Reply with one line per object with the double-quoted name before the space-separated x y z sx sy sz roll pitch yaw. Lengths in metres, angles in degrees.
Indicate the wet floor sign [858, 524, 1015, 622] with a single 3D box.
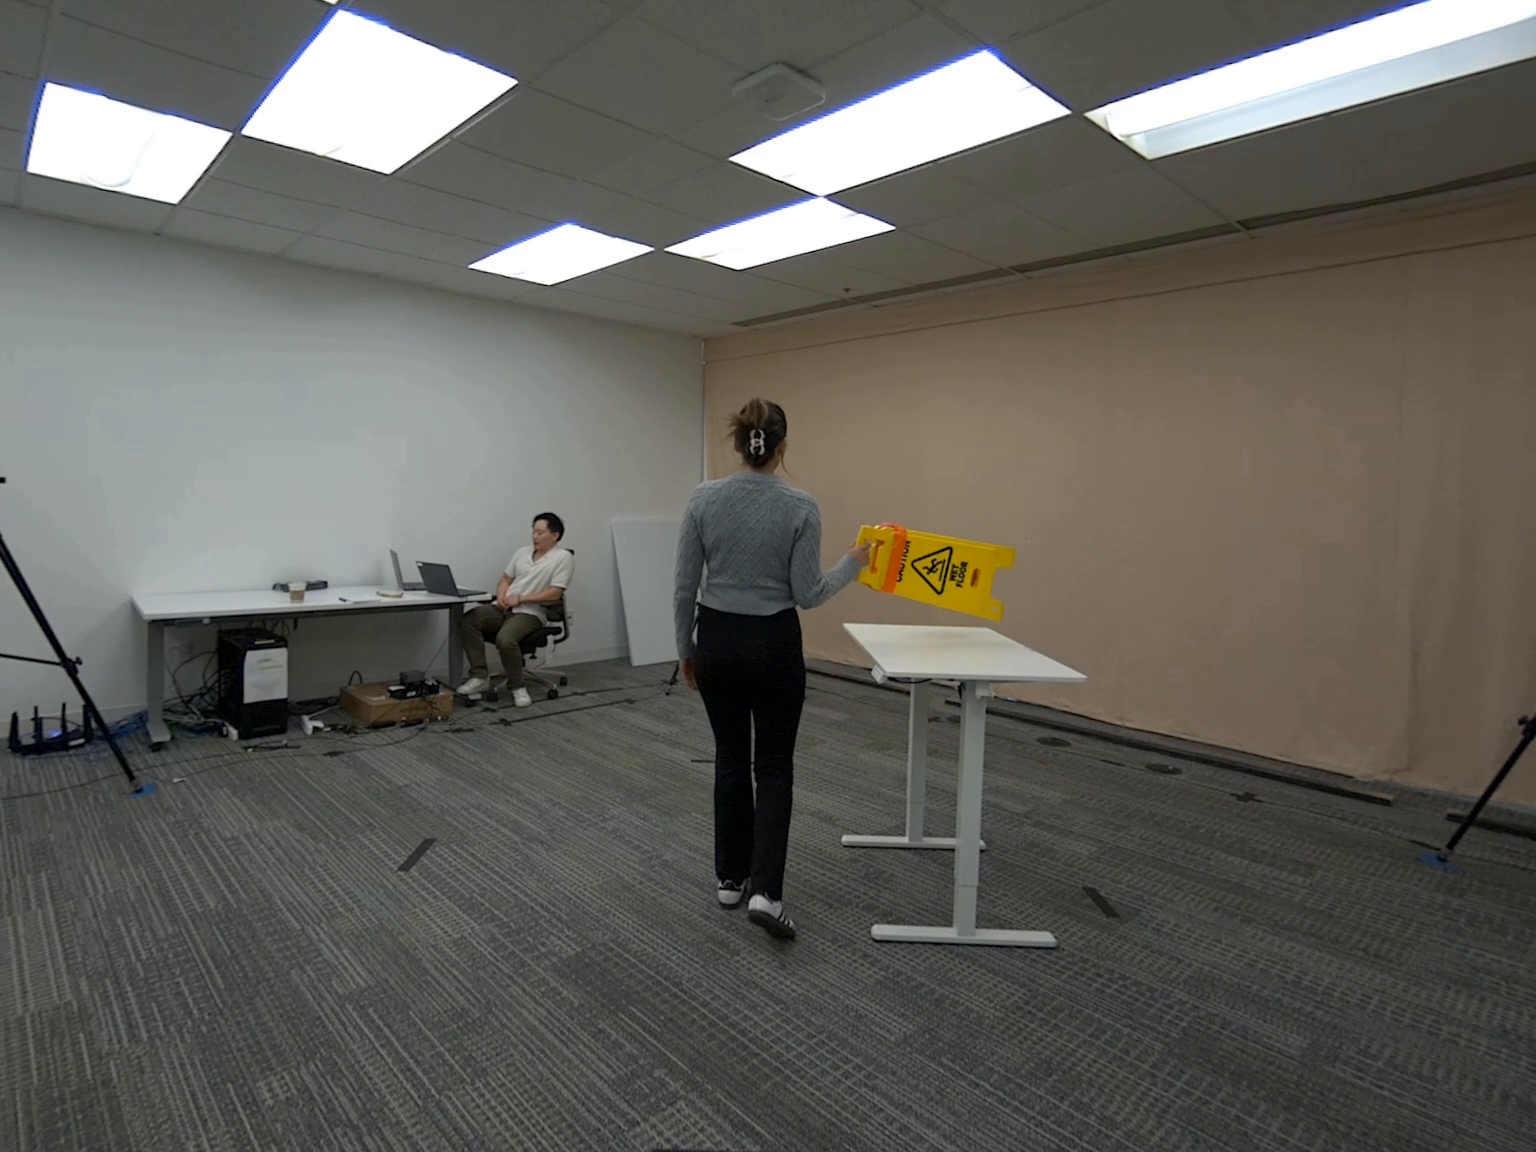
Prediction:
"wet floor sign" 0.551 -0.034 3.091 0.629 0.282 0.297 11 4 -35
